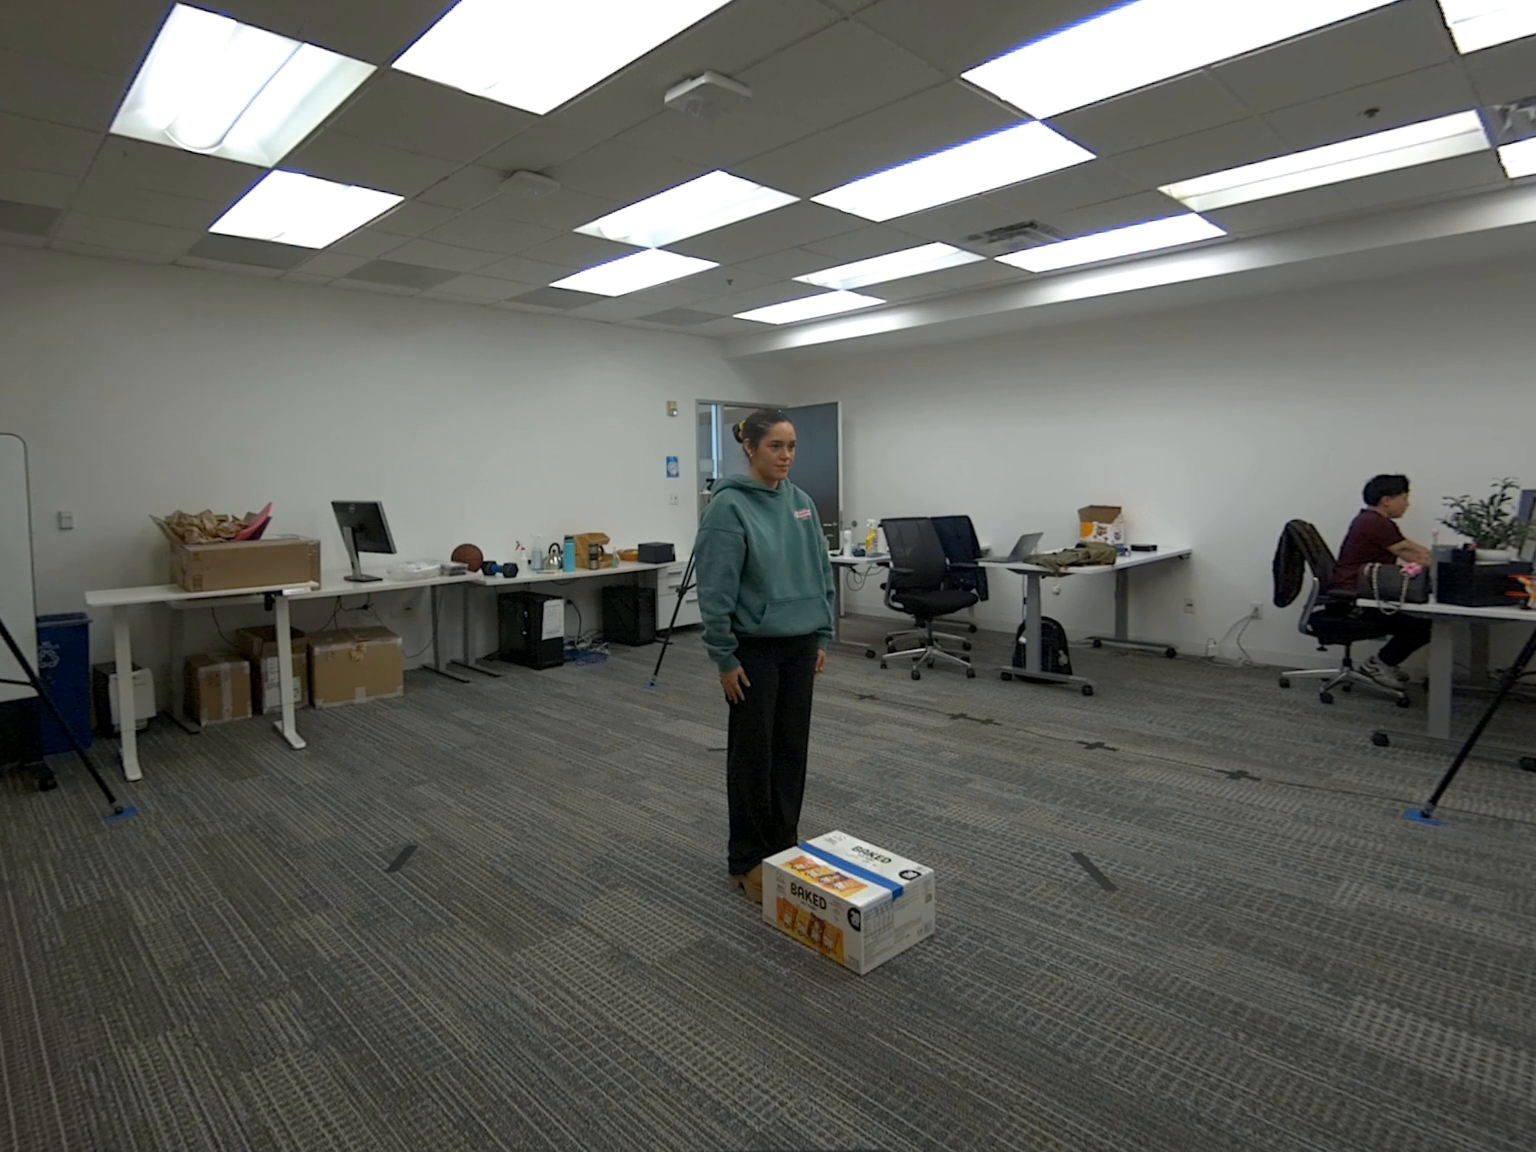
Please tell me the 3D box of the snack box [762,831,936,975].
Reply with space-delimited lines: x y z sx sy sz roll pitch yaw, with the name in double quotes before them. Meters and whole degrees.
"snack box" 0.253 0.994 2.634 0.331 0.205 0.418 -7 8 -41
